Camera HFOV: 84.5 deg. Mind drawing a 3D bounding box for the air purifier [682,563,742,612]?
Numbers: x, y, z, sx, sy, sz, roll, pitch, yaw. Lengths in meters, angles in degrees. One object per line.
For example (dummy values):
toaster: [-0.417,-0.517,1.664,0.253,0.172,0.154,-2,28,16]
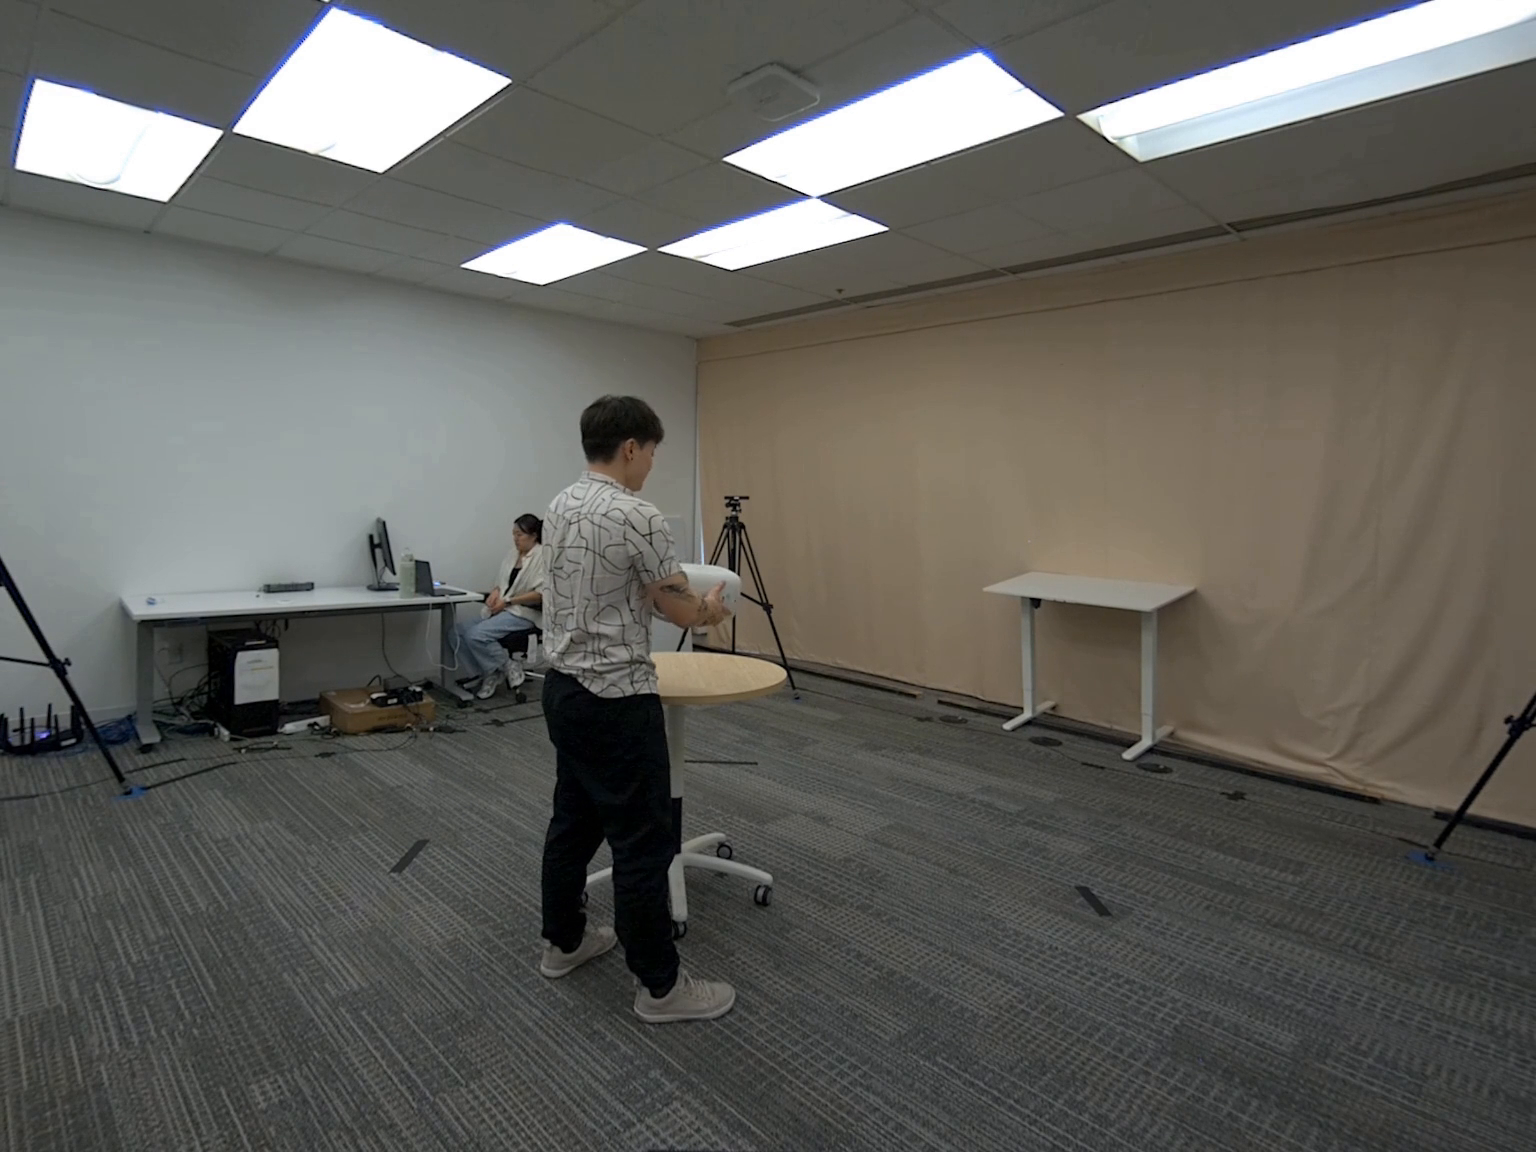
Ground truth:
air purifier: [-0.225,0.054,2.619,0.176,0.170,0.259,15,8,37]
